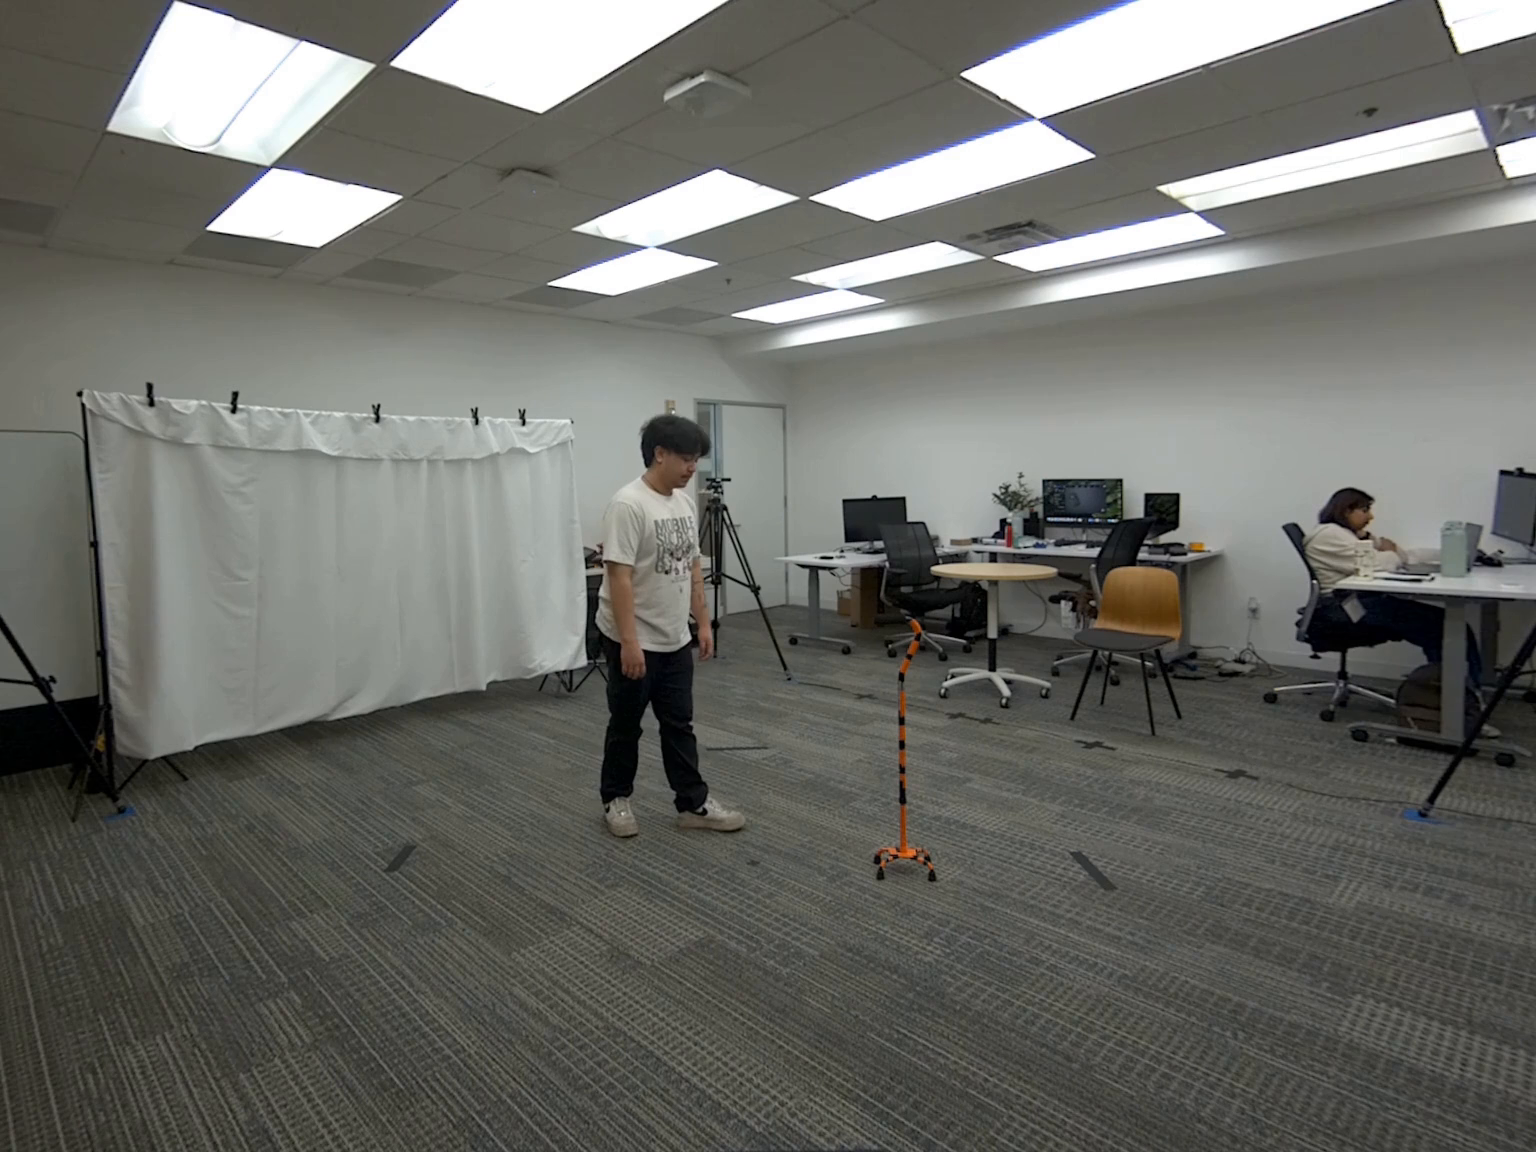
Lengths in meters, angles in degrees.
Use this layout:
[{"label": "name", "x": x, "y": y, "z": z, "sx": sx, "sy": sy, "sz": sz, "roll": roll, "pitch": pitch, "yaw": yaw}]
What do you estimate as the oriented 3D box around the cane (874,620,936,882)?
[{"label": "cane", "x": 0.476, "y": 0.594, "z": 2.991, "sx": 0.207, "sy": 0.905, "sz": 0.151, "roll": -1, "pitch": 3, "yaw": 3}]
